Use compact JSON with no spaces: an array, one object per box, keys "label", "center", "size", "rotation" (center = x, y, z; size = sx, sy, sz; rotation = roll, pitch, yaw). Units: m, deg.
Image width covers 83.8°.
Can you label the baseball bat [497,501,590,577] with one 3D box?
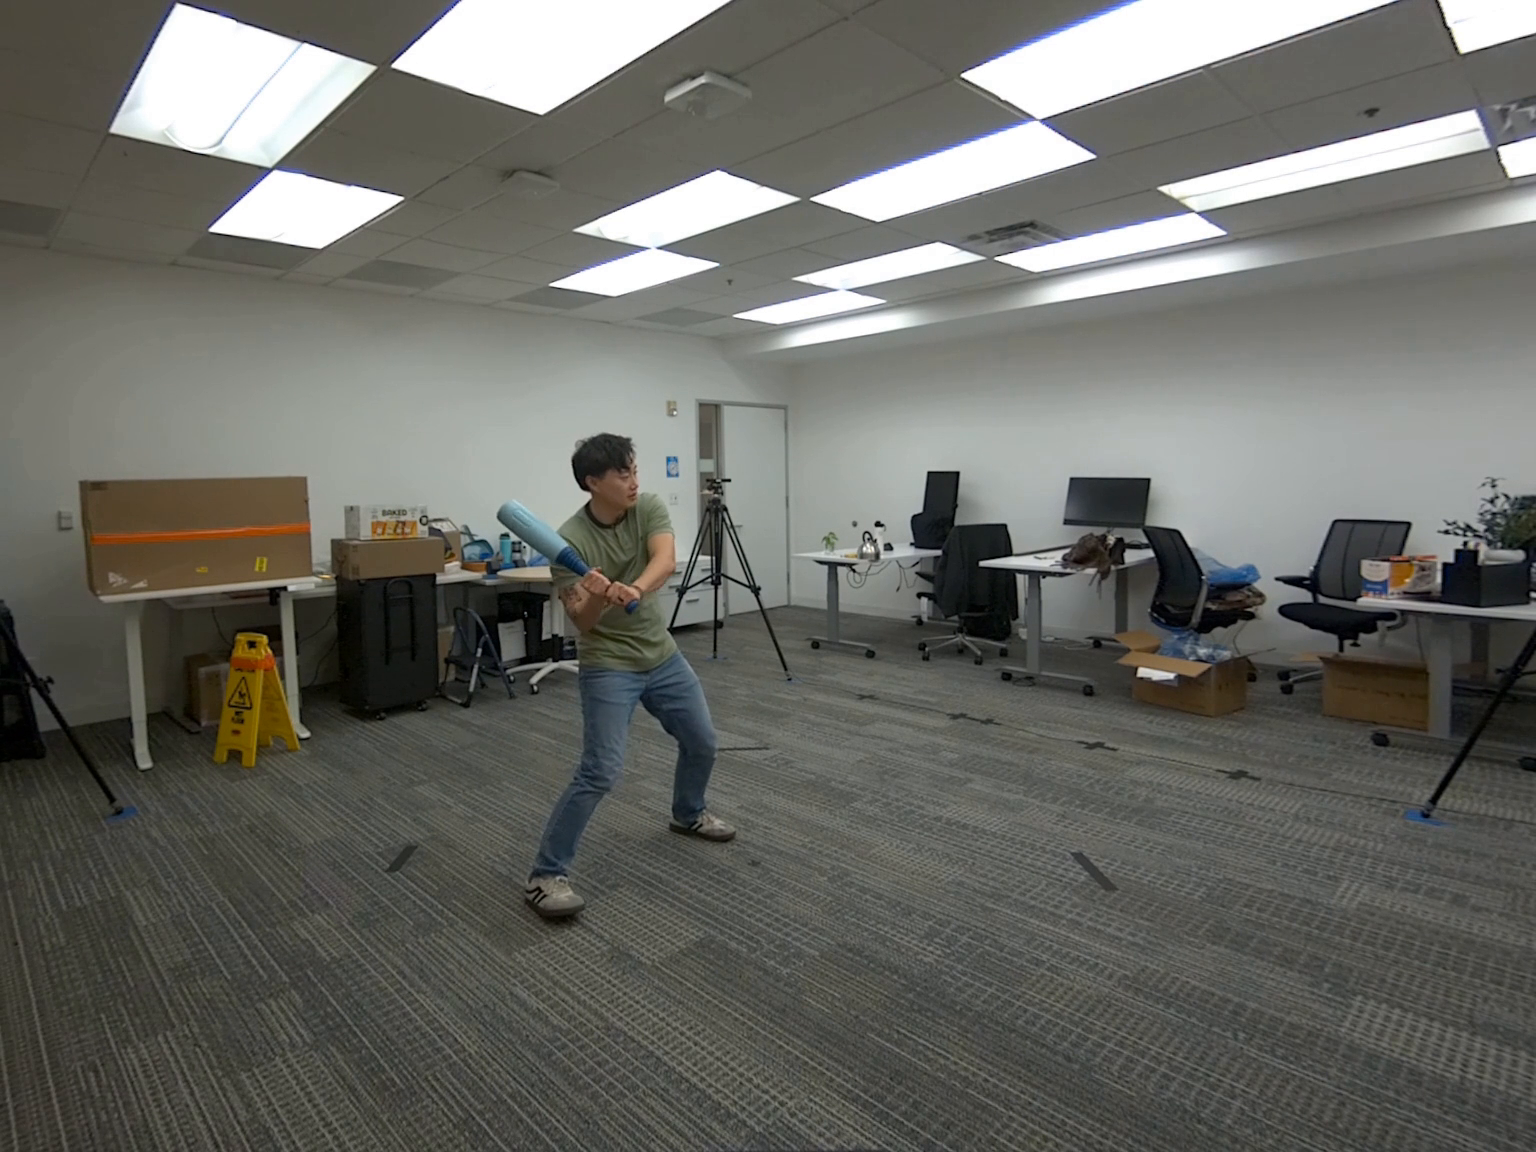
[{"label":"baseball bat","center":[-0.637,-0.049,2.710],"size":[0.549,0.089,0.088],"rotation":[38,11,8]}]
